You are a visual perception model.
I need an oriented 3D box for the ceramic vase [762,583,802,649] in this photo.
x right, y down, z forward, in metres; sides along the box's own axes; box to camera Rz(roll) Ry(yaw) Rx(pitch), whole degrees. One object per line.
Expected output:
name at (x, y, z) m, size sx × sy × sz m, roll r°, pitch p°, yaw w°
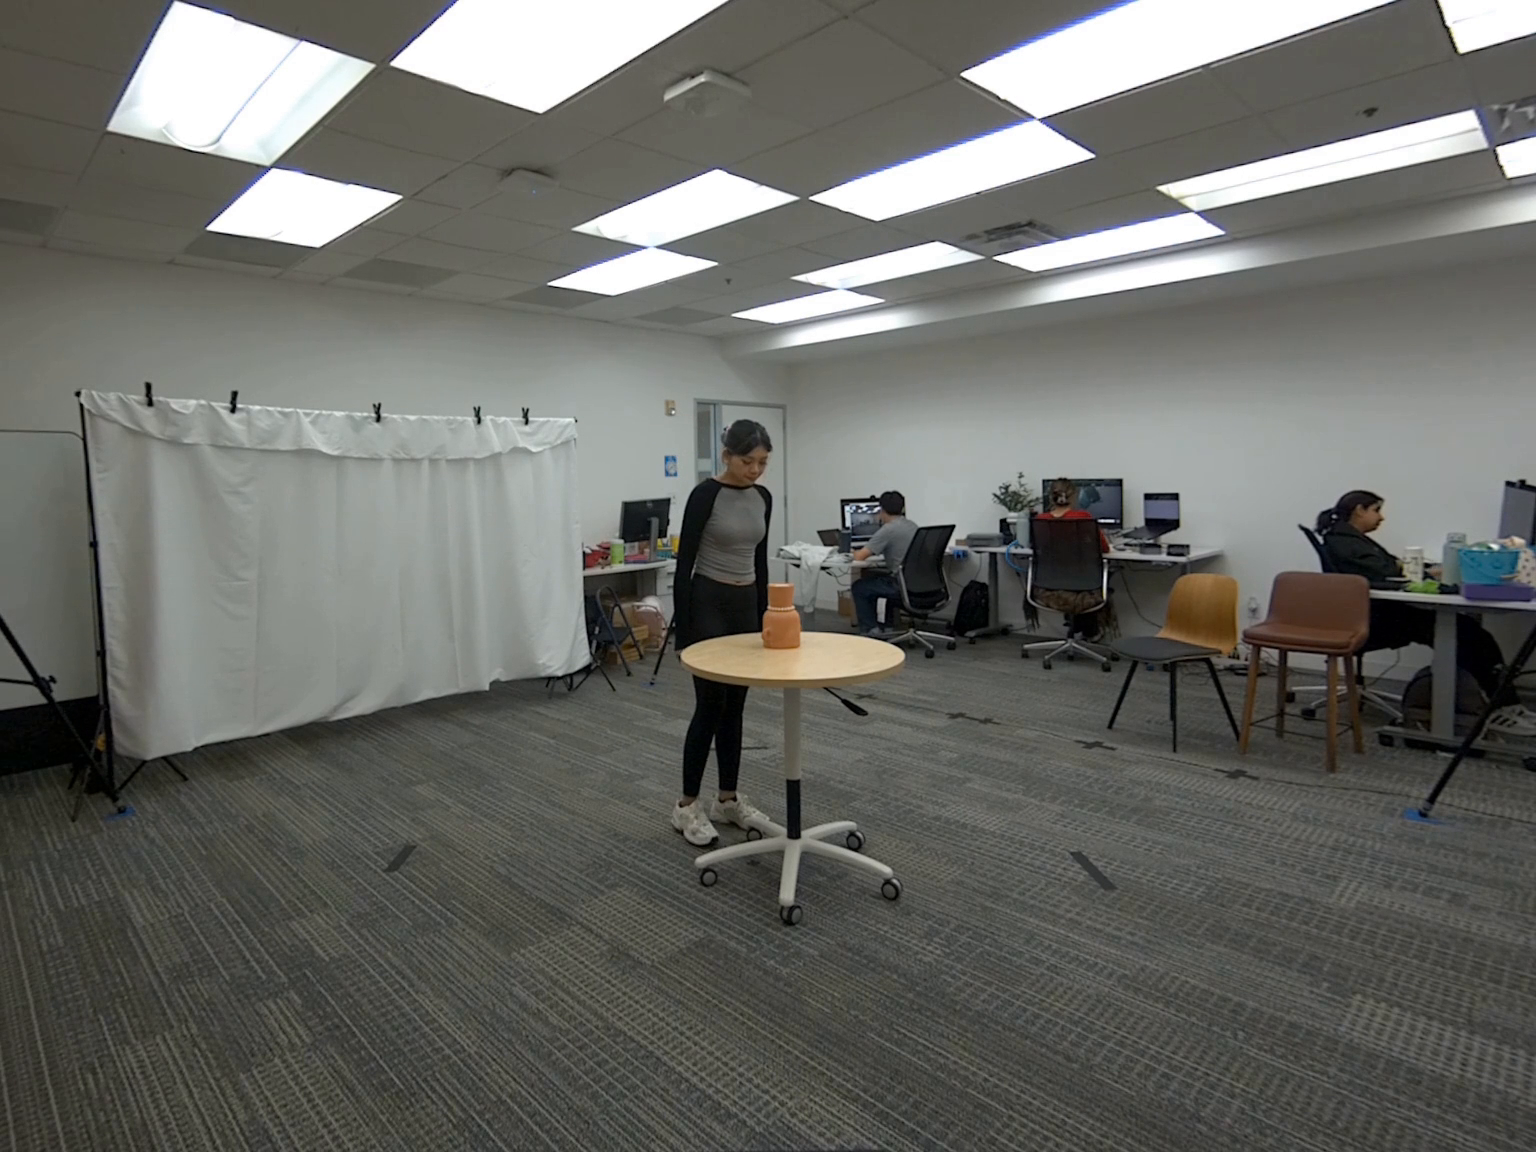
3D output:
ceramic vase at (0.049, 0.140, 3.067) m, size 0.135 × 0.219 × 0.159 m, roll -1°, pitch 5°, yaw 5°
